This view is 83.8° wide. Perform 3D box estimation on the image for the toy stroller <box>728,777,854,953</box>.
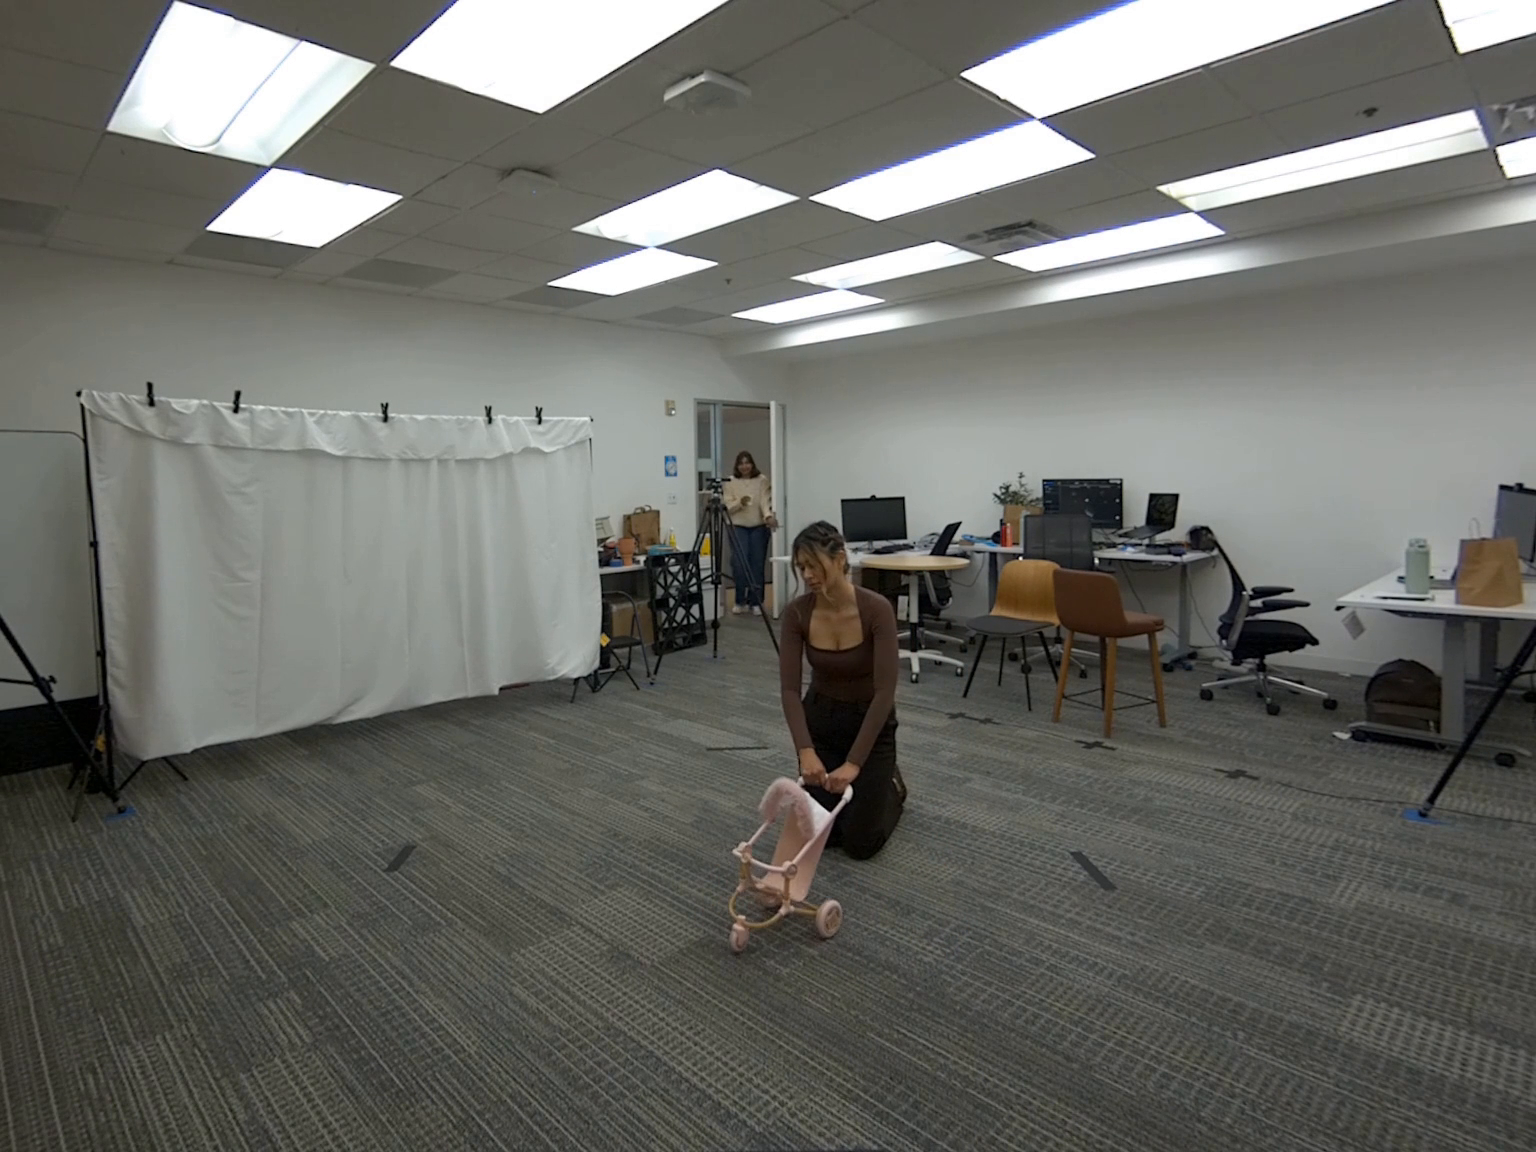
[{"bbox_3d":[0.054,0.869,2.646,0.330,0.538,0.290,17,-9,-38],"label":"toy stroller"}]
